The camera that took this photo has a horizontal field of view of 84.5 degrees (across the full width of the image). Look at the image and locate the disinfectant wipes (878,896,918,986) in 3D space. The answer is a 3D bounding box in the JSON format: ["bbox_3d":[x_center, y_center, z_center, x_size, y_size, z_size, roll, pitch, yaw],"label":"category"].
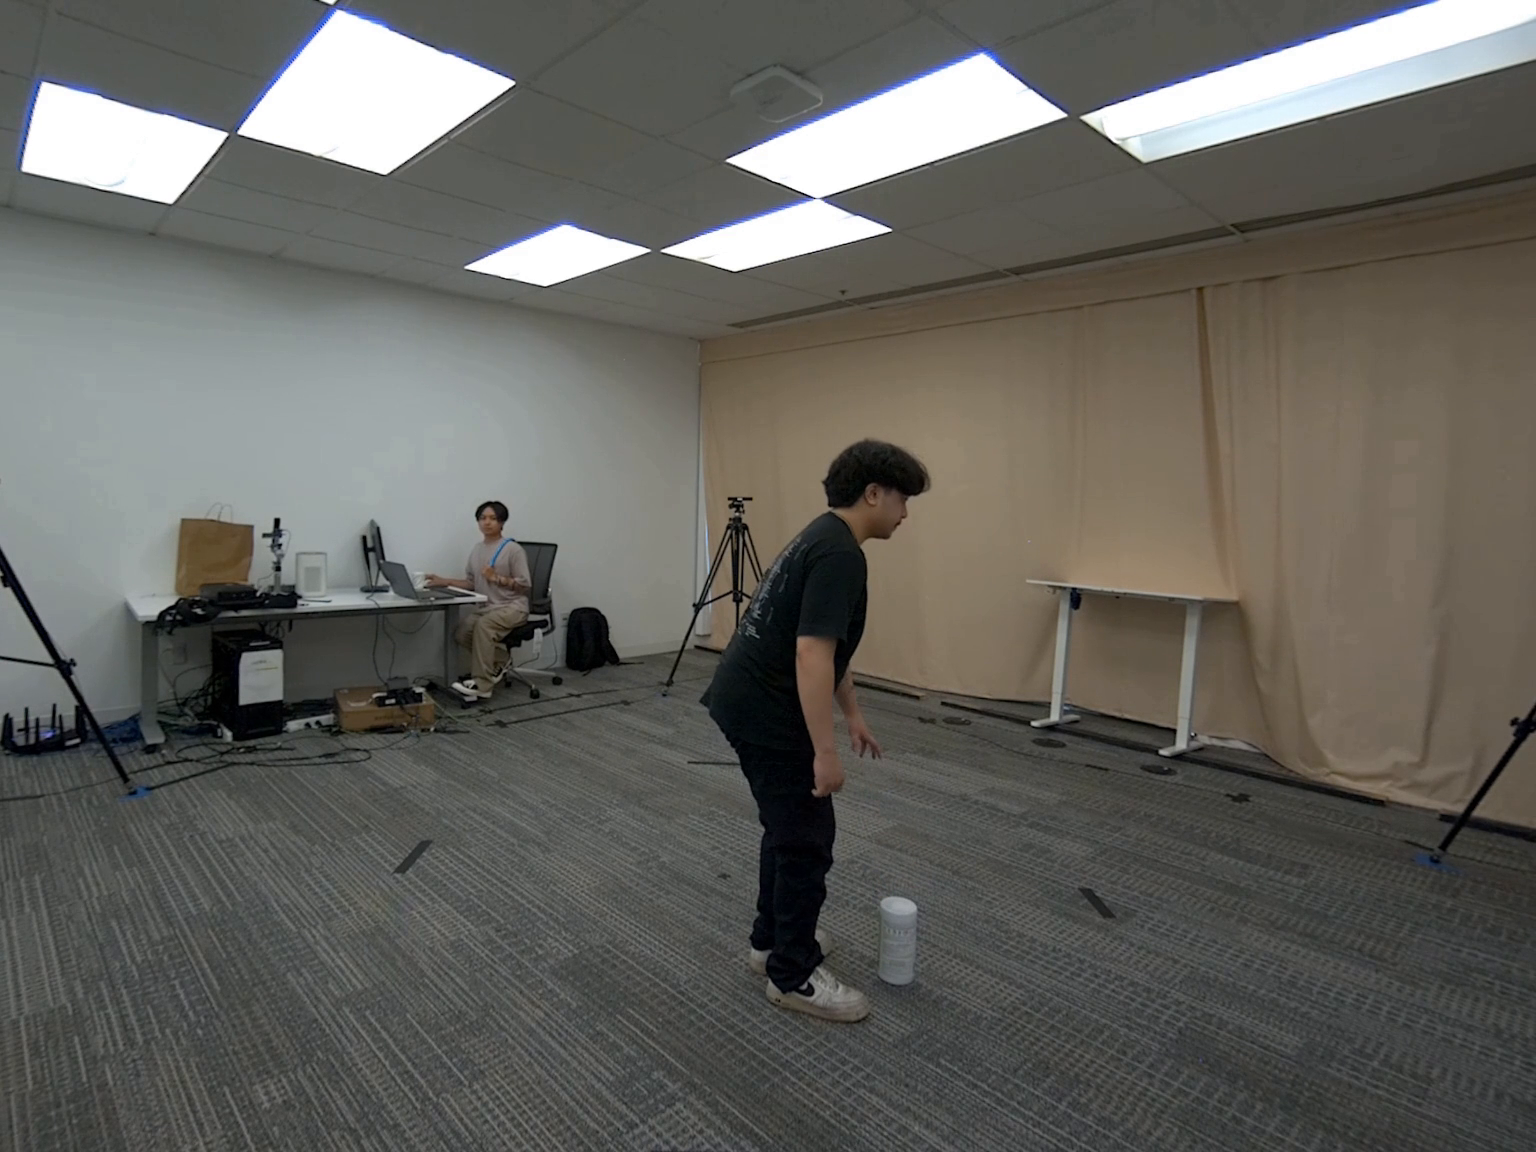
[{"bbox_3d":[0.369,1.079,2.467,0.118,0.216,0.118,2,6,-2],"label":"disinfectant wipes"}]
